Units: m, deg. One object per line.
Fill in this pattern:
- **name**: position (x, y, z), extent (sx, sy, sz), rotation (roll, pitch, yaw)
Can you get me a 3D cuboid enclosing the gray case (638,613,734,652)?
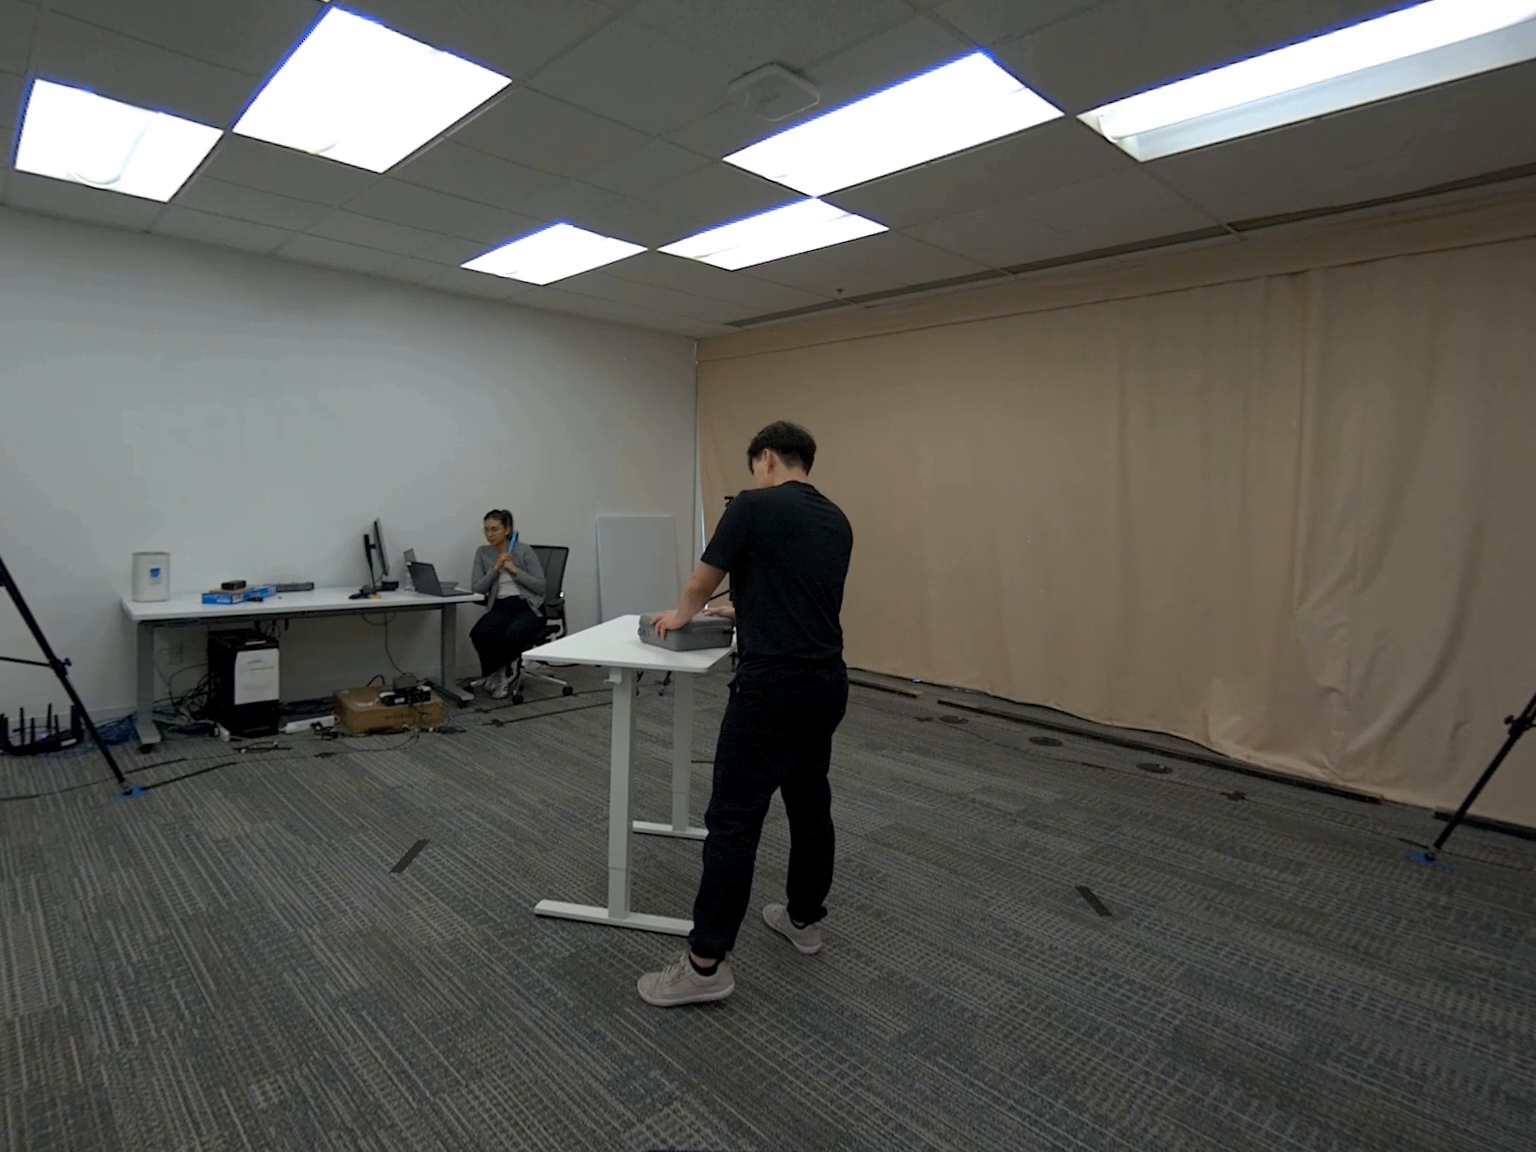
- **gray case**: position (-0.296, 0.186, 2.915), extent (0.251, 0.104, 0.267), rotation (-4, 7, -40)
